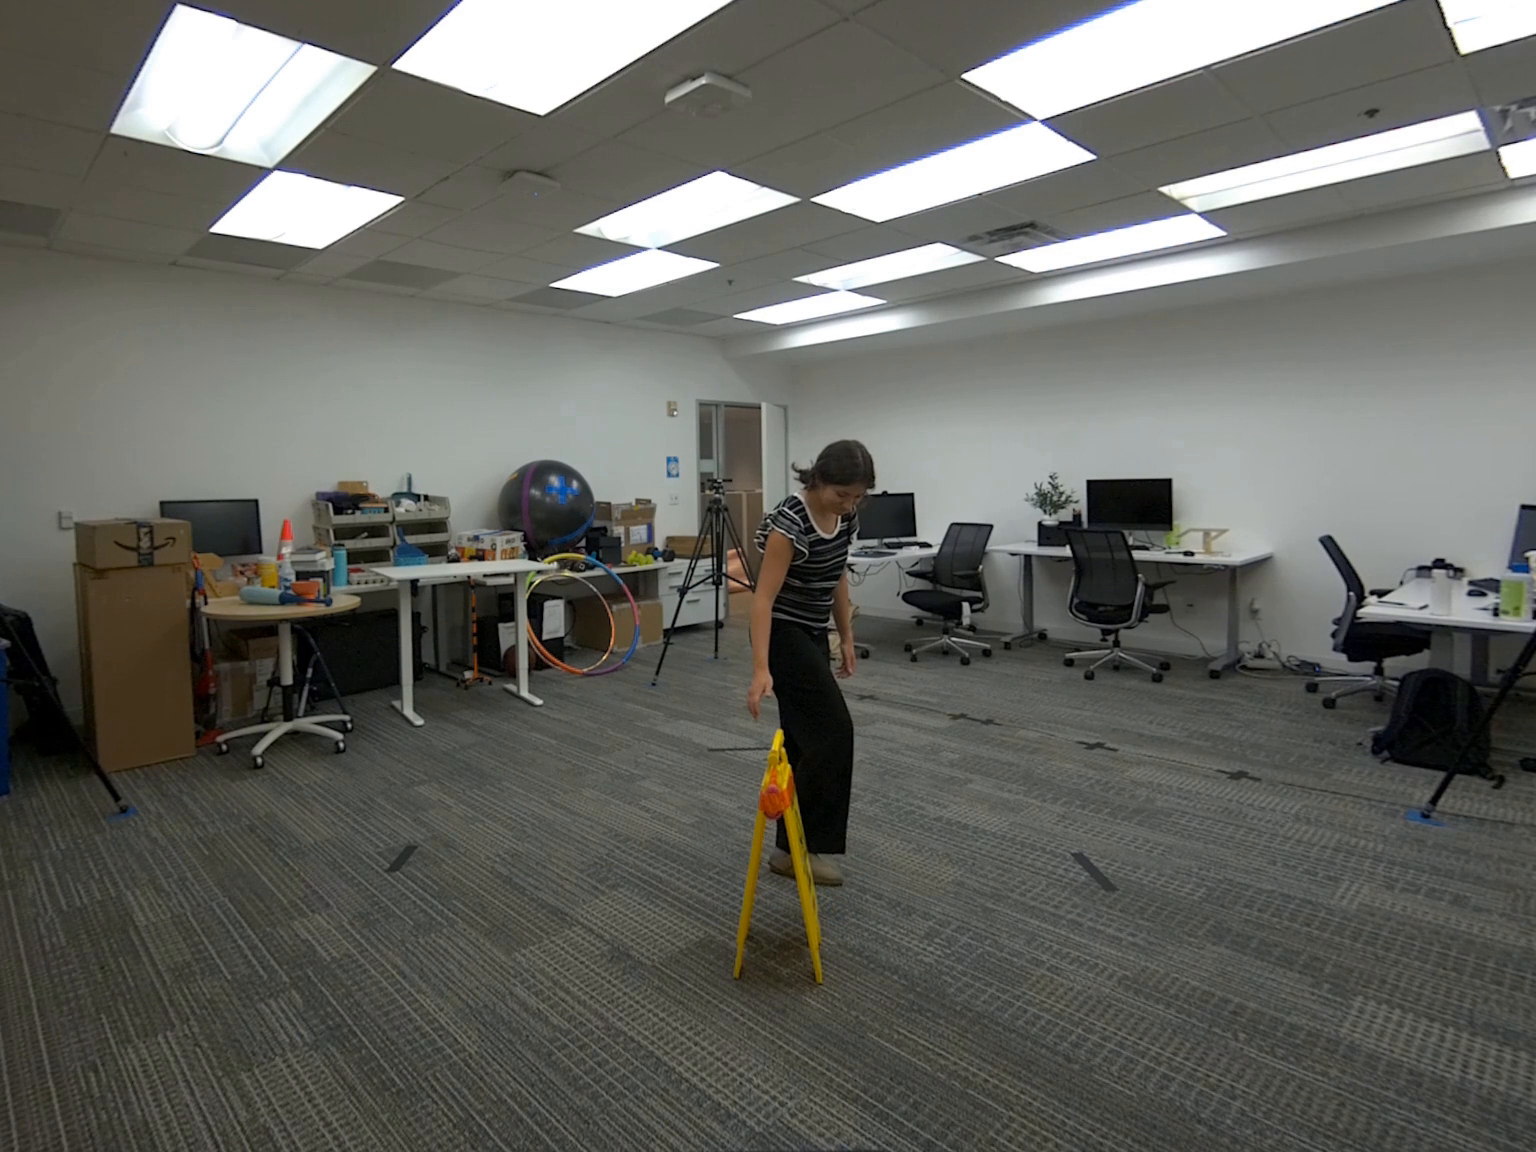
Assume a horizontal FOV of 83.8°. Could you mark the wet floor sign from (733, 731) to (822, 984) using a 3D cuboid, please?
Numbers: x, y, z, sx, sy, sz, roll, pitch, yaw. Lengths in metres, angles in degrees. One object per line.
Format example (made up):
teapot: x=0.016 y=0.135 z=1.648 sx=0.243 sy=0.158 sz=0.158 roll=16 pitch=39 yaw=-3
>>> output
wet floor sign: x=0.033 y=0.793 z=2.481 sx=0.292 sy=0.645 sz=0.281 roll=-3 pitch=2 yaw=6
